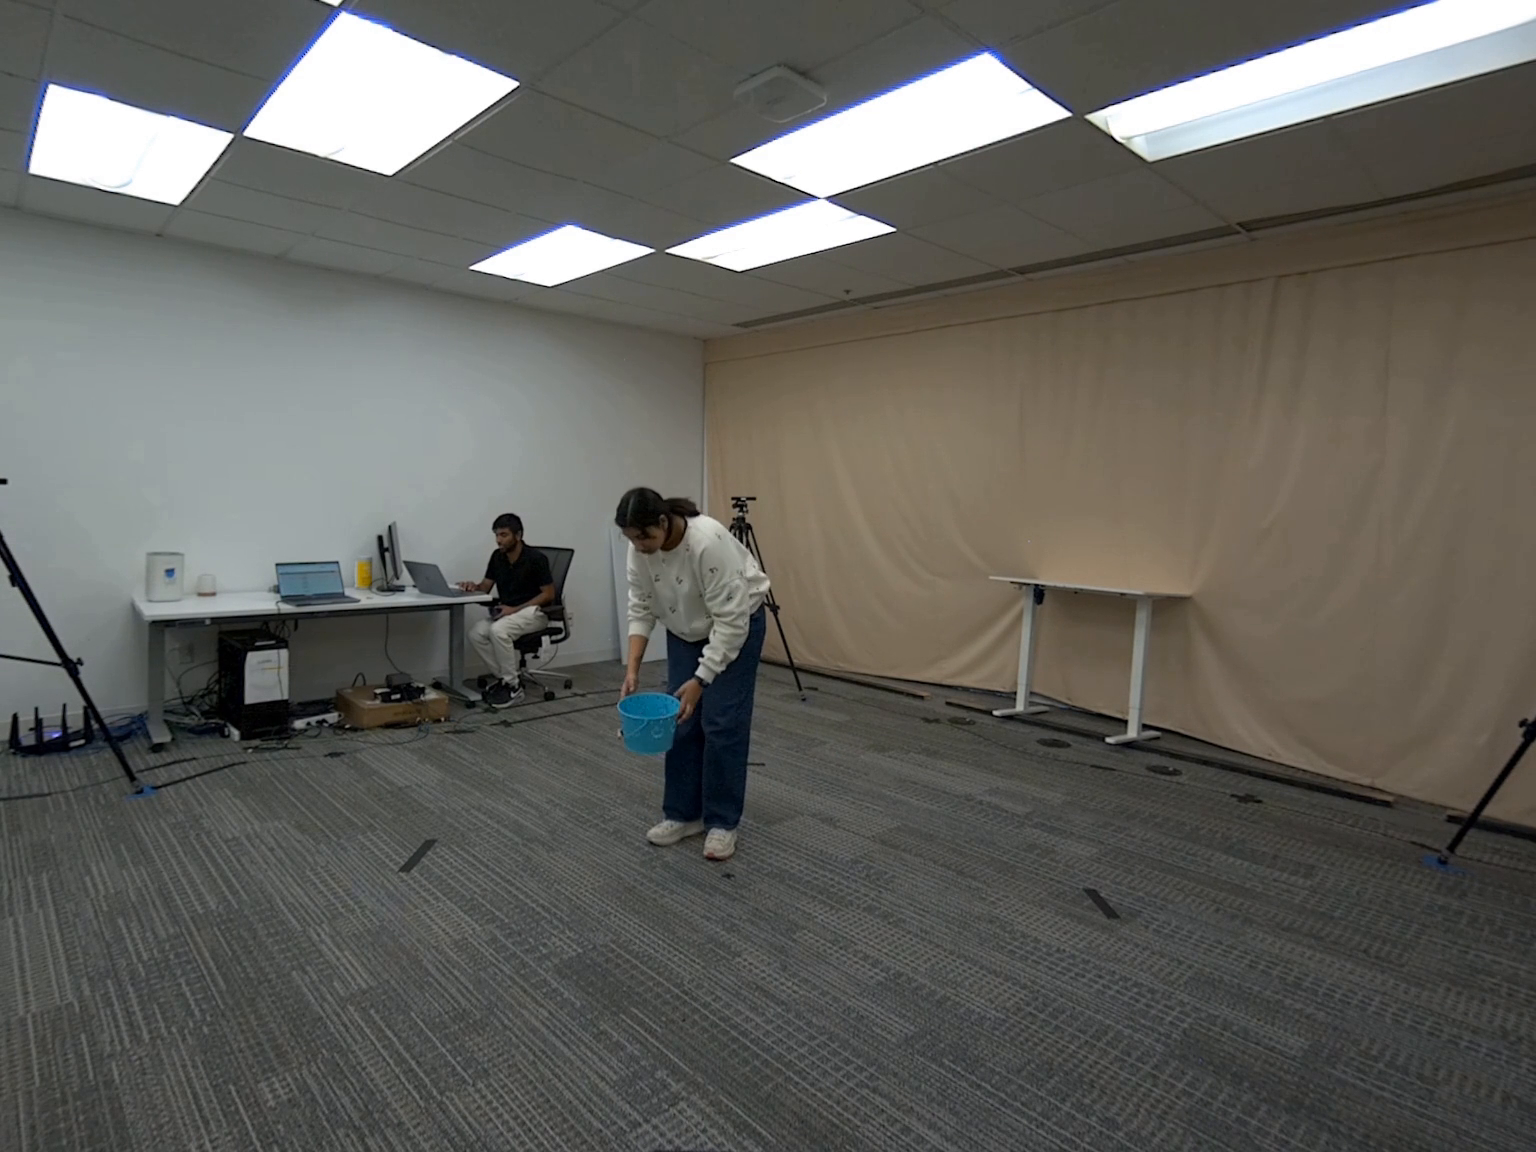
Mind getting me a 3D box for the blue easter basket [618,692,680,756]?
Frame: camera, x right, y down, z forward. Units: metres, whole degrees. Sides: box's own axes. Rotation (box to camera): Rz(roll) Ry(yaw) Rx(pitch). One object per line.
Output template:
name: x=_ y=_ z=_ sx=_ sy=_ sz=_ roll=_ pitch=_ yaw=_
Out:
blue easter basket: x=-0.456 y=0.548 z=3.110 sx=0.243 sy=0.154 sz=0.246 roll=3 pitch=12 yaw=-2
